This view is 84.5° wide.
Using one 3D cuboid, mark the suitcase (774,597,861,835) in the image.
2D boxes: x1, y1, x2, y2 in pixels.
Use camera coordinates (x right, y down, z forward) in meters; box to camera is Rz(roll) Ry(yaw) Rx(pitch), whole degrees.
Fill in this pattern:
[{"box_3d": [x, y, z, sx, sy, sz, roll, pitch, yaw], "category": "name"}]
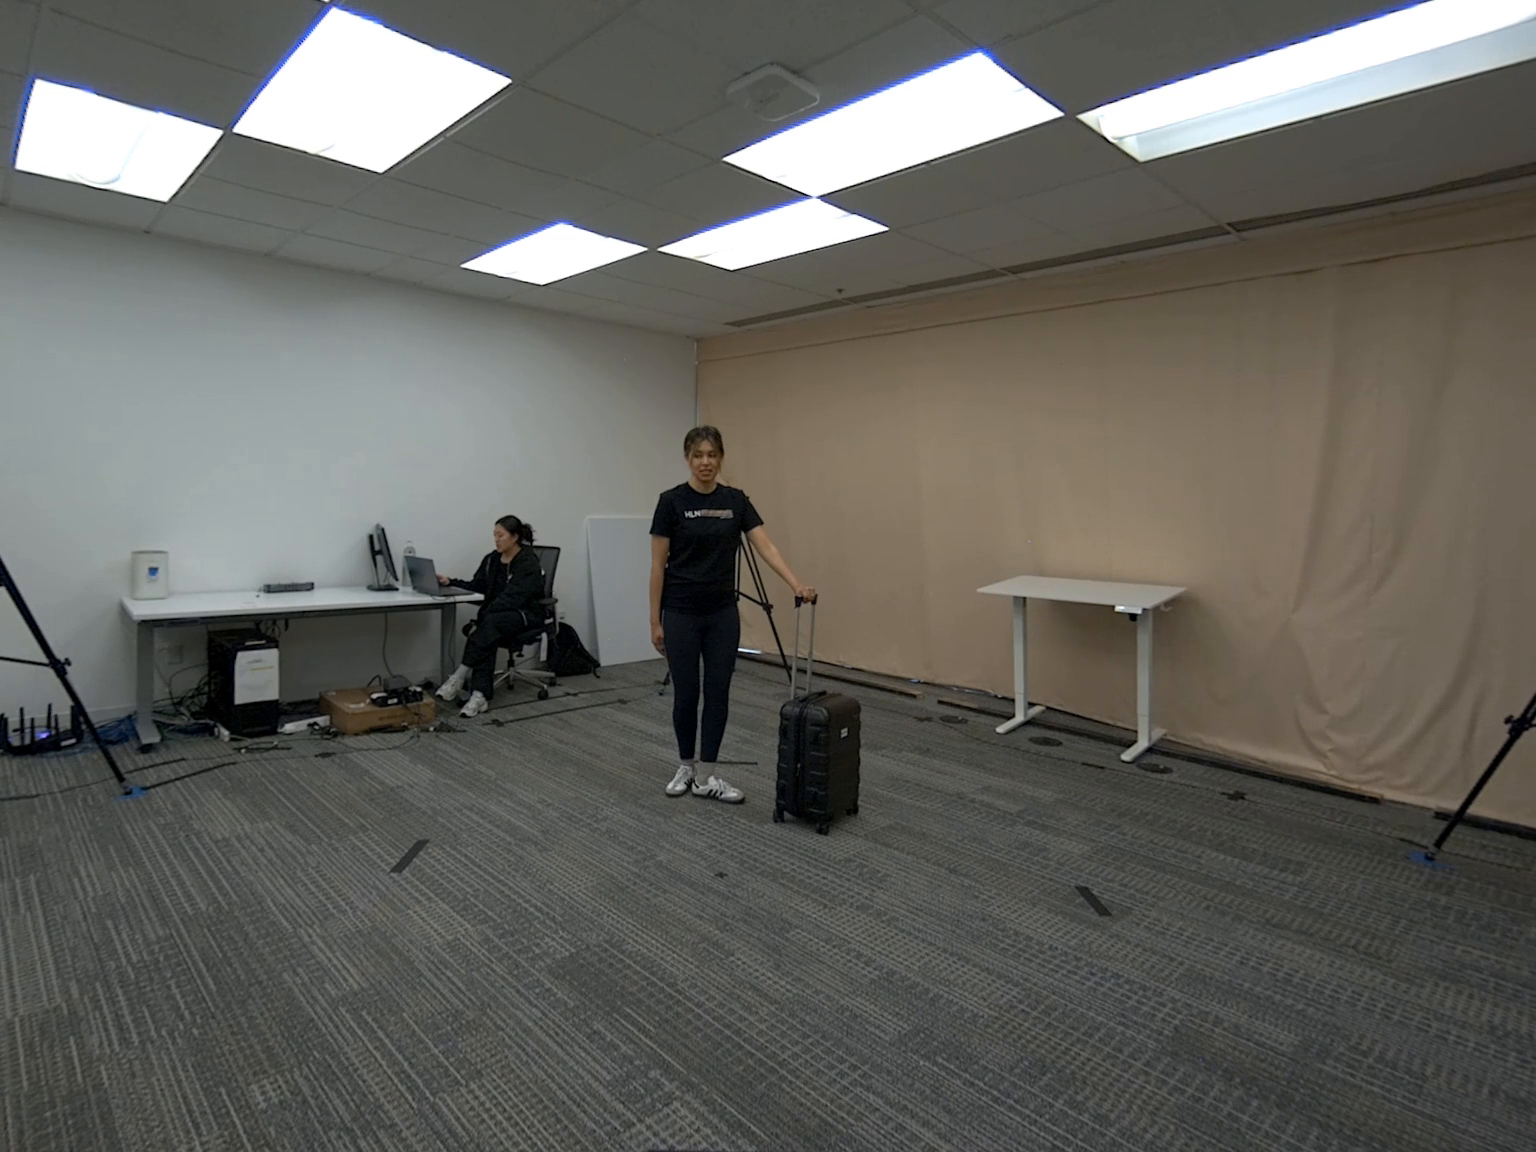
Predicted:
[{"box_3d": [0.228, 0.585, 3.654, 0.263, 0.976, 0.376, 6, 5, 33], "category": "suitcase"}]
